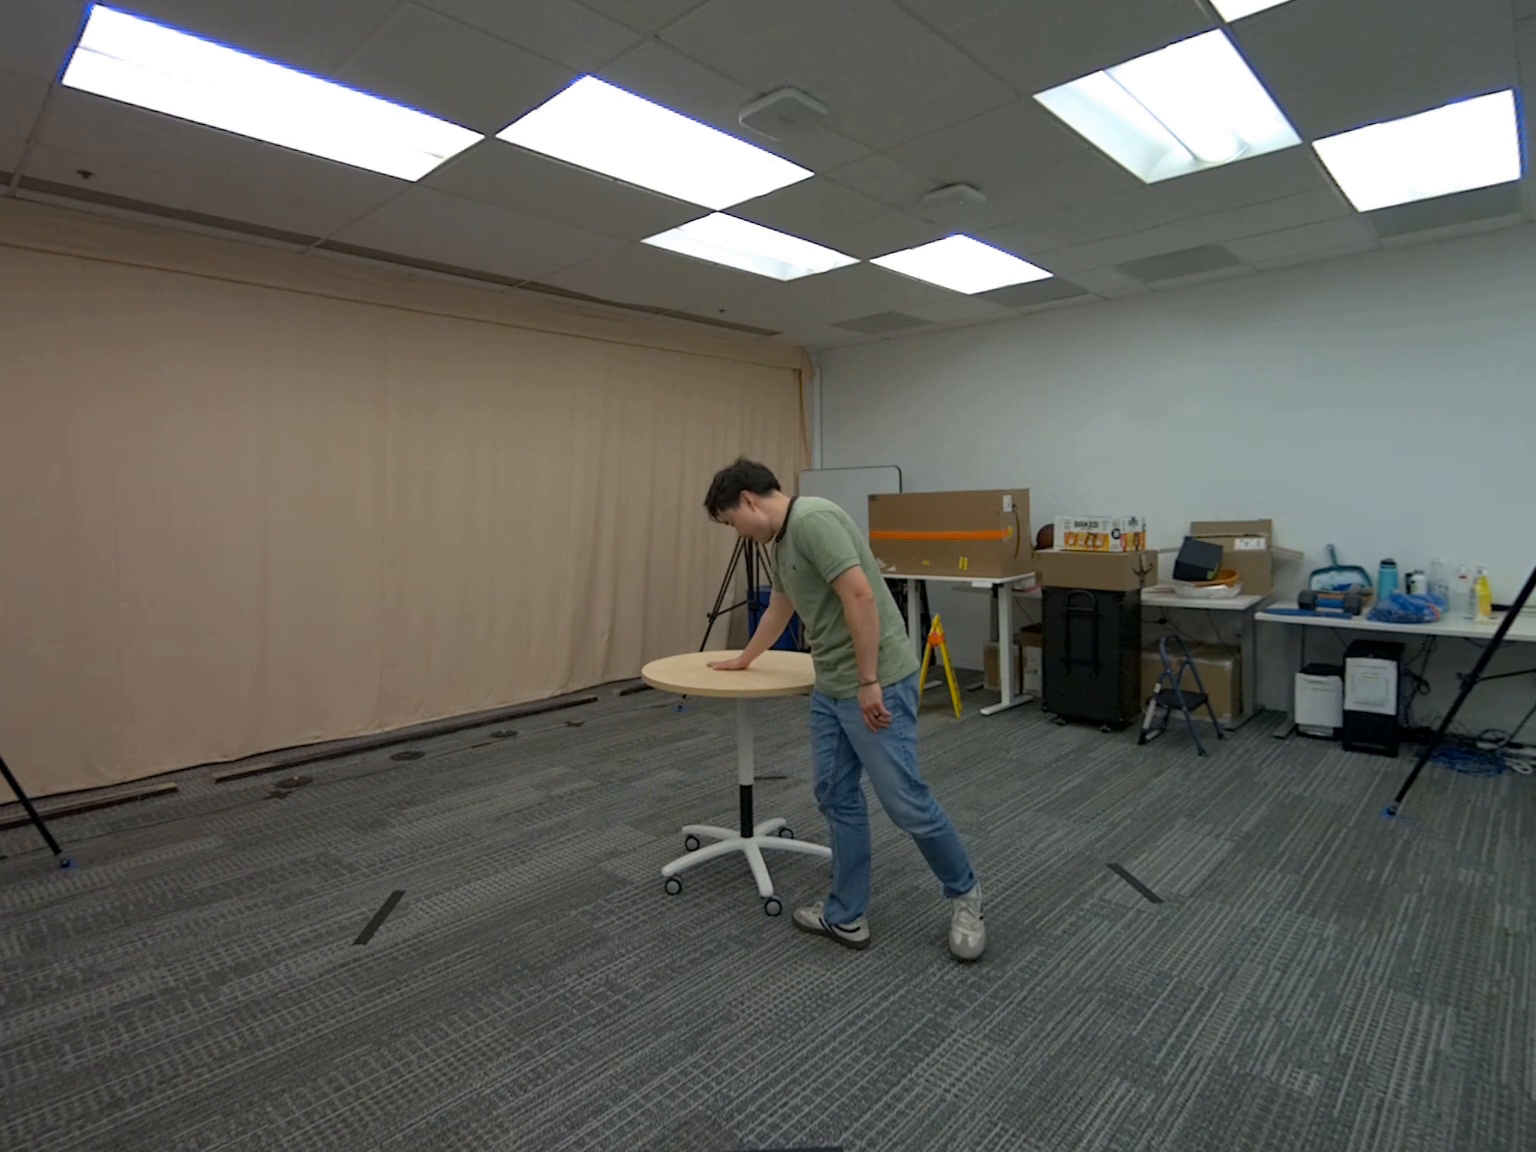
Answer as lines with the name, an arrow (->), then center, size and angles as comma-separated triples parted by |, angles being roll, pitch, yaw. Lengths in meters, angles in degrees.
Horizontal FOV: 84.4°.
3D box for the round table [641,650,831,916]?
round table -> -0.081, 0.737, 3.172 | 0.763, 0.792, 0.766 | -1, 4, -2
